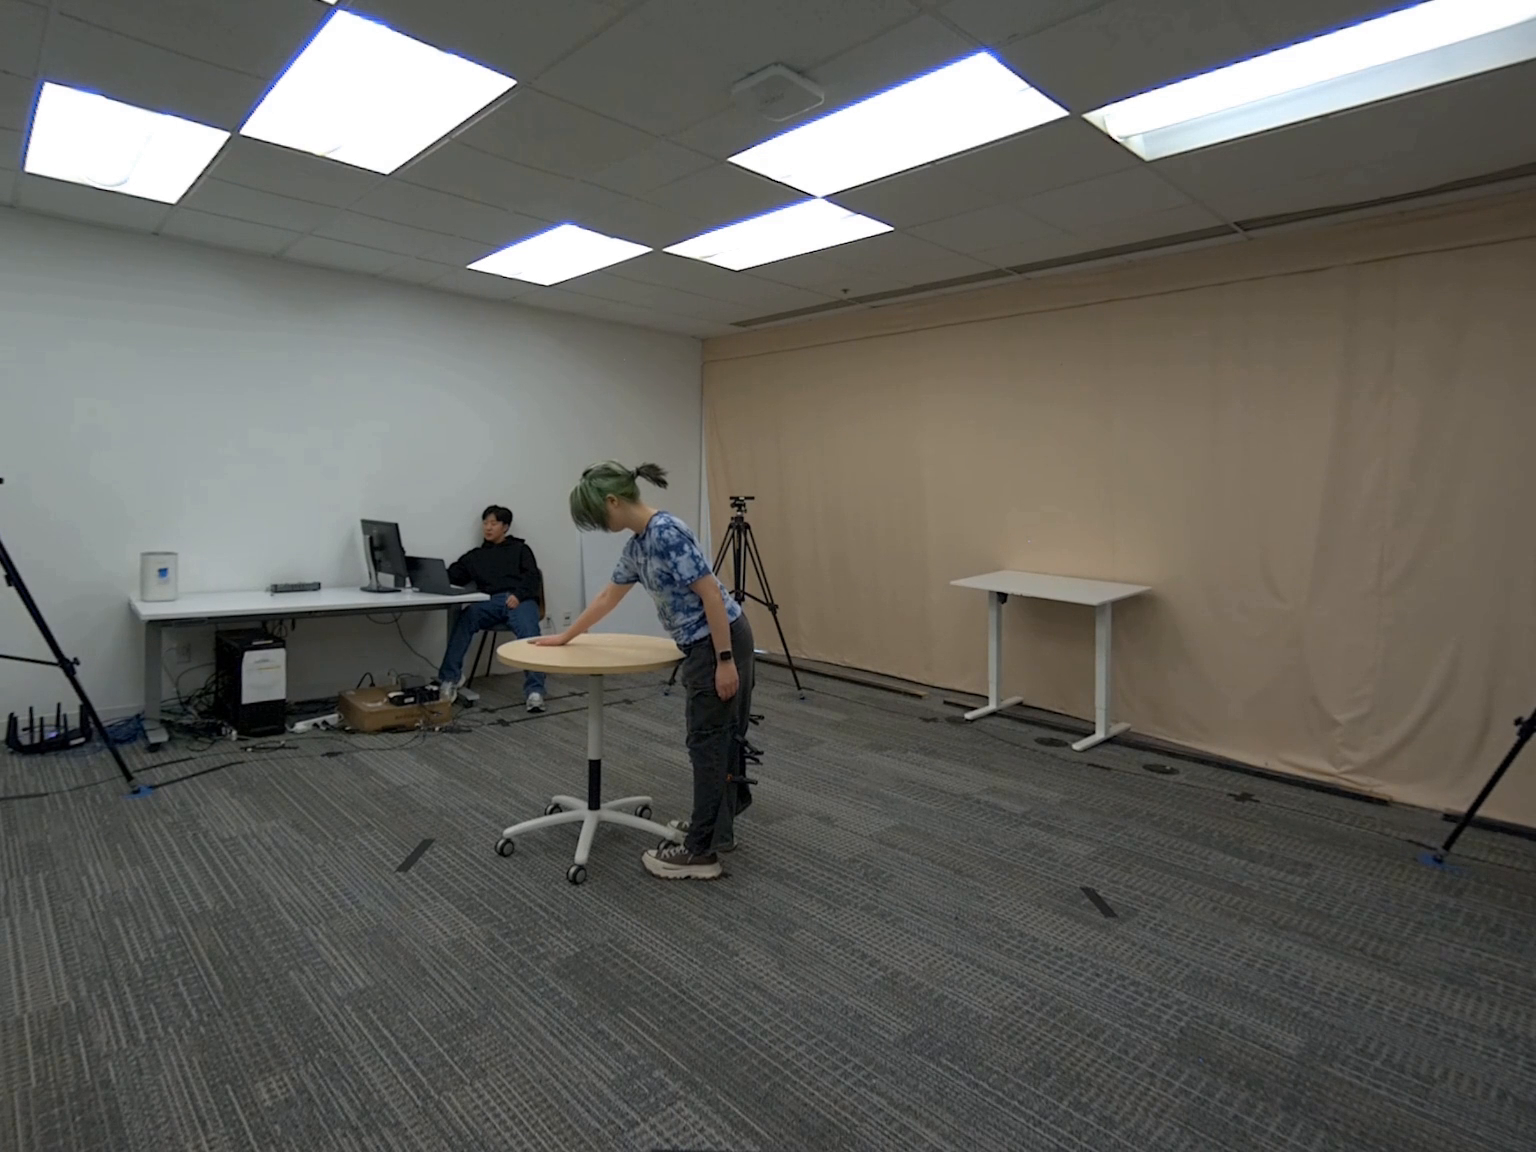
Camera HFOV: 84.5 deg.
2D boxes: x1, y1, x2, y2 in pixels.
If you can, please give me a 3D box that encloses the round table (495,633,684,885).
[{"bbox_3d":[-0.681,0.675,3.351,0.784,0.784,0.788,1,4,-1],"label":"round table"}]
